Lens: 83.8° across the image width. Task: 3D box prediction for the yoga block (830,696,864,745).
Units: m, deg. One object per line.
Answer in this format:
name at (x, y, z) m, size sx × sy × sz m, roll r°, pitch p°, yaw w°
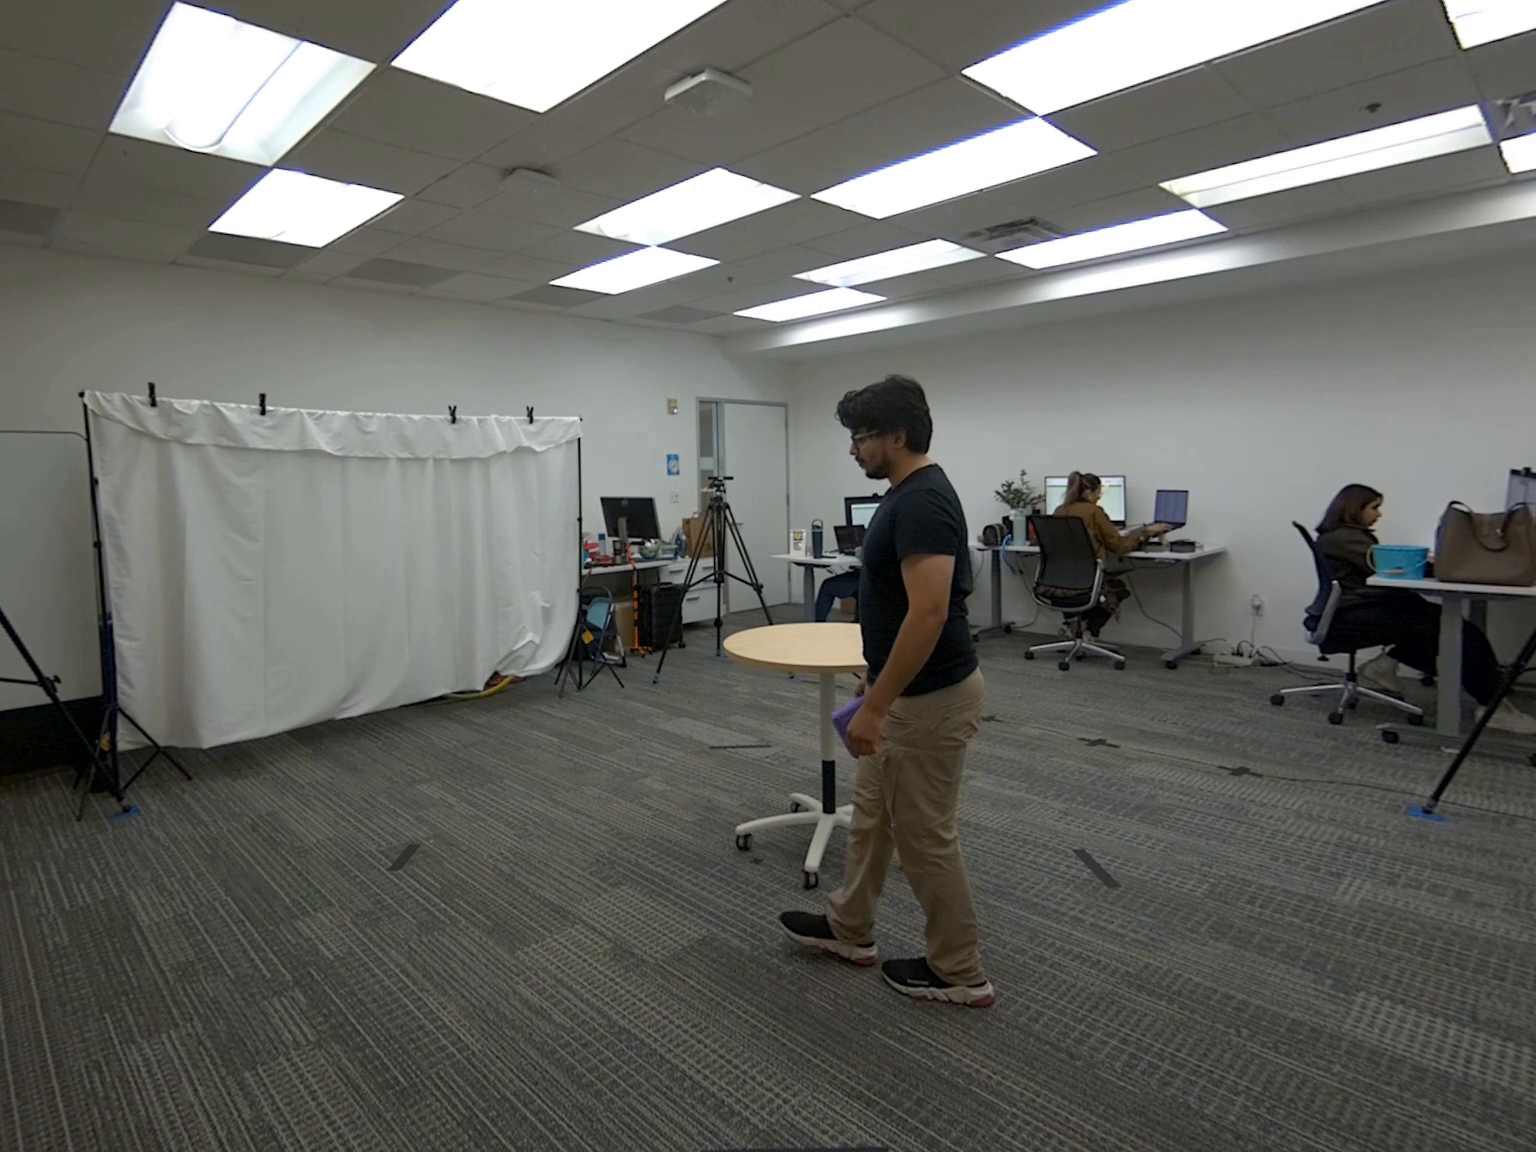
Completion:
yoga block at (0.326, 0.430, 2.572) m, size 0.228 × 0.150 × 0.076 m, roll -30°, pitch -3°, yaw -8°
